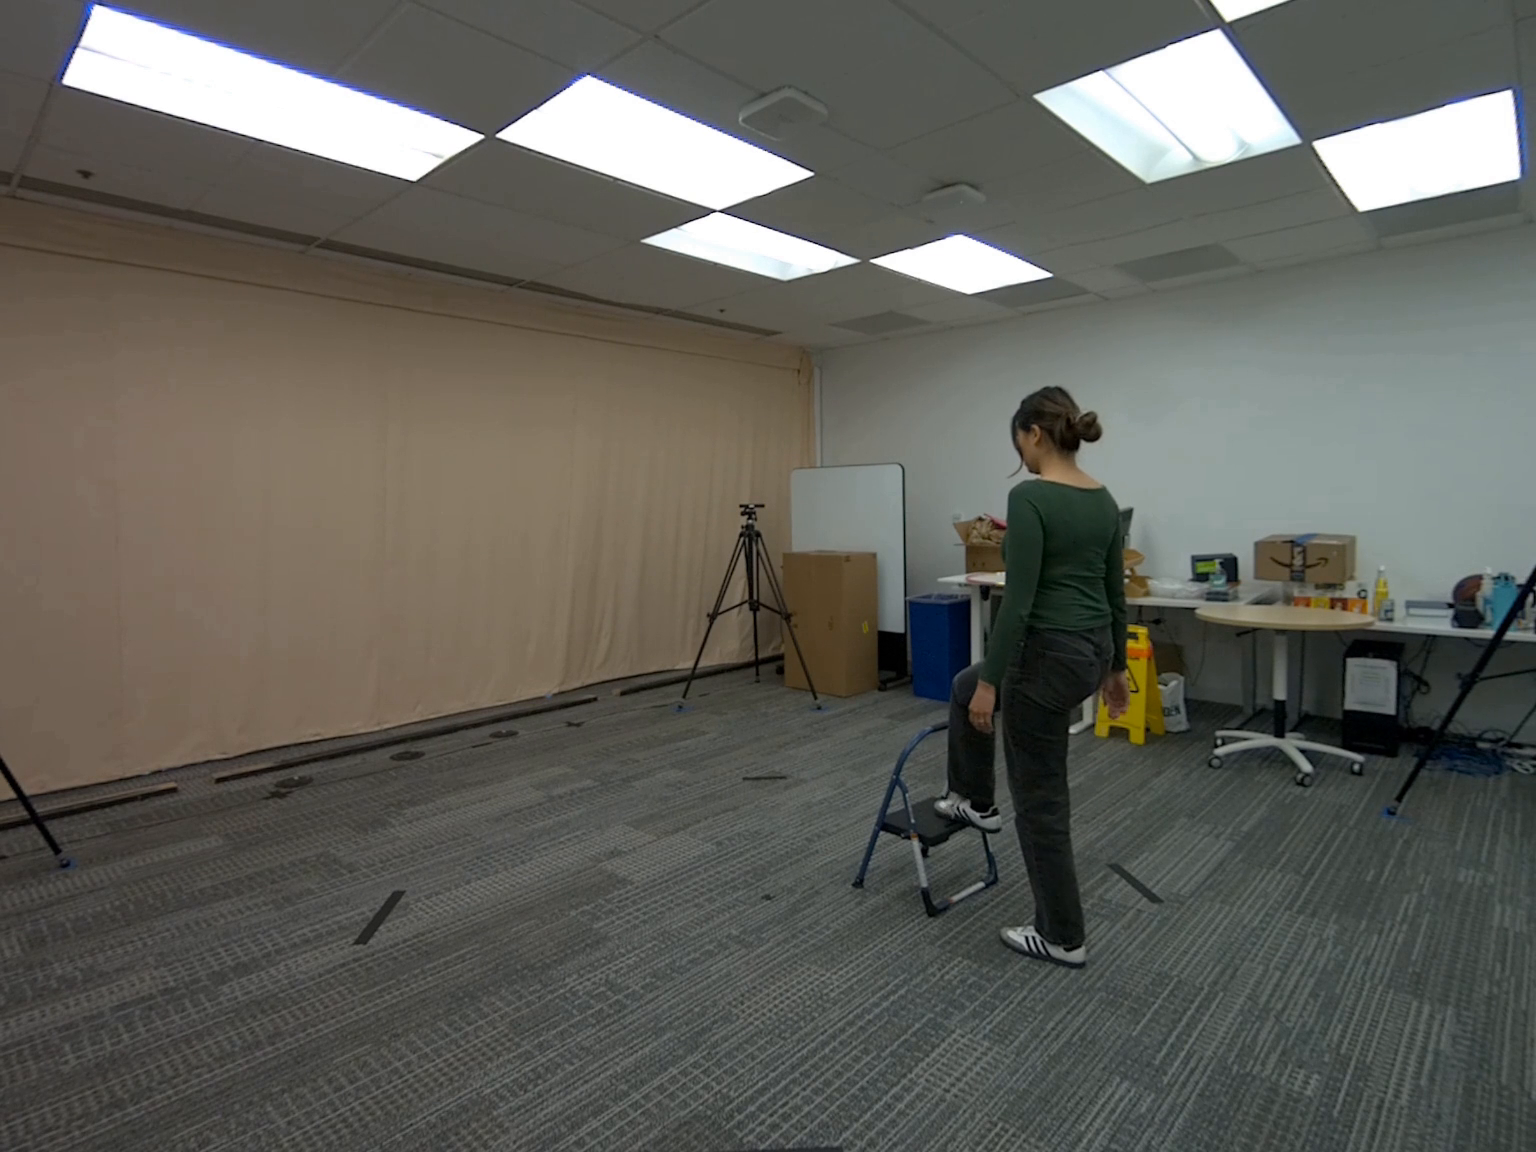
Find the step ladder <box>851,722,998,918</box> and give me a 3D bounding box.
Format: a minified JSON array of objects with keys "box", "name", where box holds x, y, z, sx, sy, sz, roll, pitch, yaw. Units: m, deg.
[{"box":[0.577,0.820,3.054,0.417,0.605,0.361,-4,5,-43],"name":"step ladder"}]
